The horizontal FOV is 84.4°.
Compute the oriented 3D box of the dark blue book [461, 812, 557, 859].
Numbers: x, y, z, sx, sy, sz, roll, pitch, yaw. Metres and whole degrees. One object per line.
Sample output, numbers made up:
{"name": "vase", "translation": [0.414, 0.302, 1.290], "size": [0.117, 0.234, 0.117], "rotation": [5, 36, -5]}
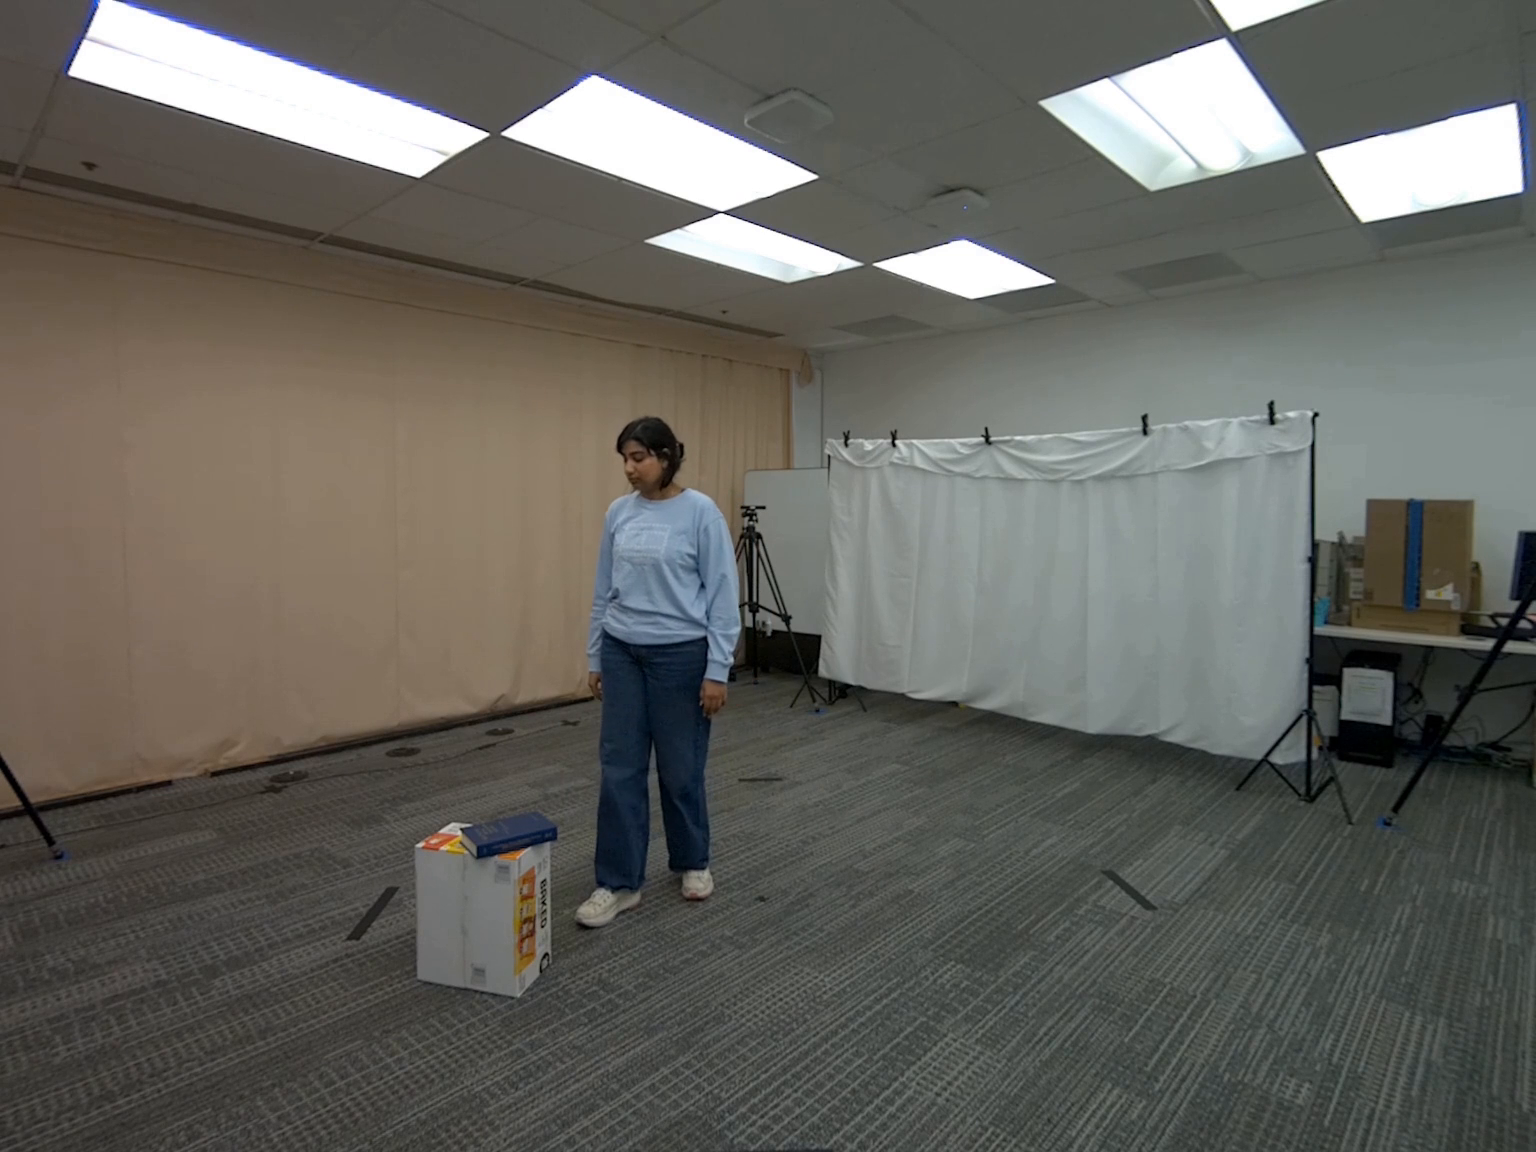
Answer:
{"name": "dark blue book", "translation": [-0.768, 0.767, 2.488], "size": [0.238, 0.045, 0.168], "rotation": [-4, 4, -35]}
